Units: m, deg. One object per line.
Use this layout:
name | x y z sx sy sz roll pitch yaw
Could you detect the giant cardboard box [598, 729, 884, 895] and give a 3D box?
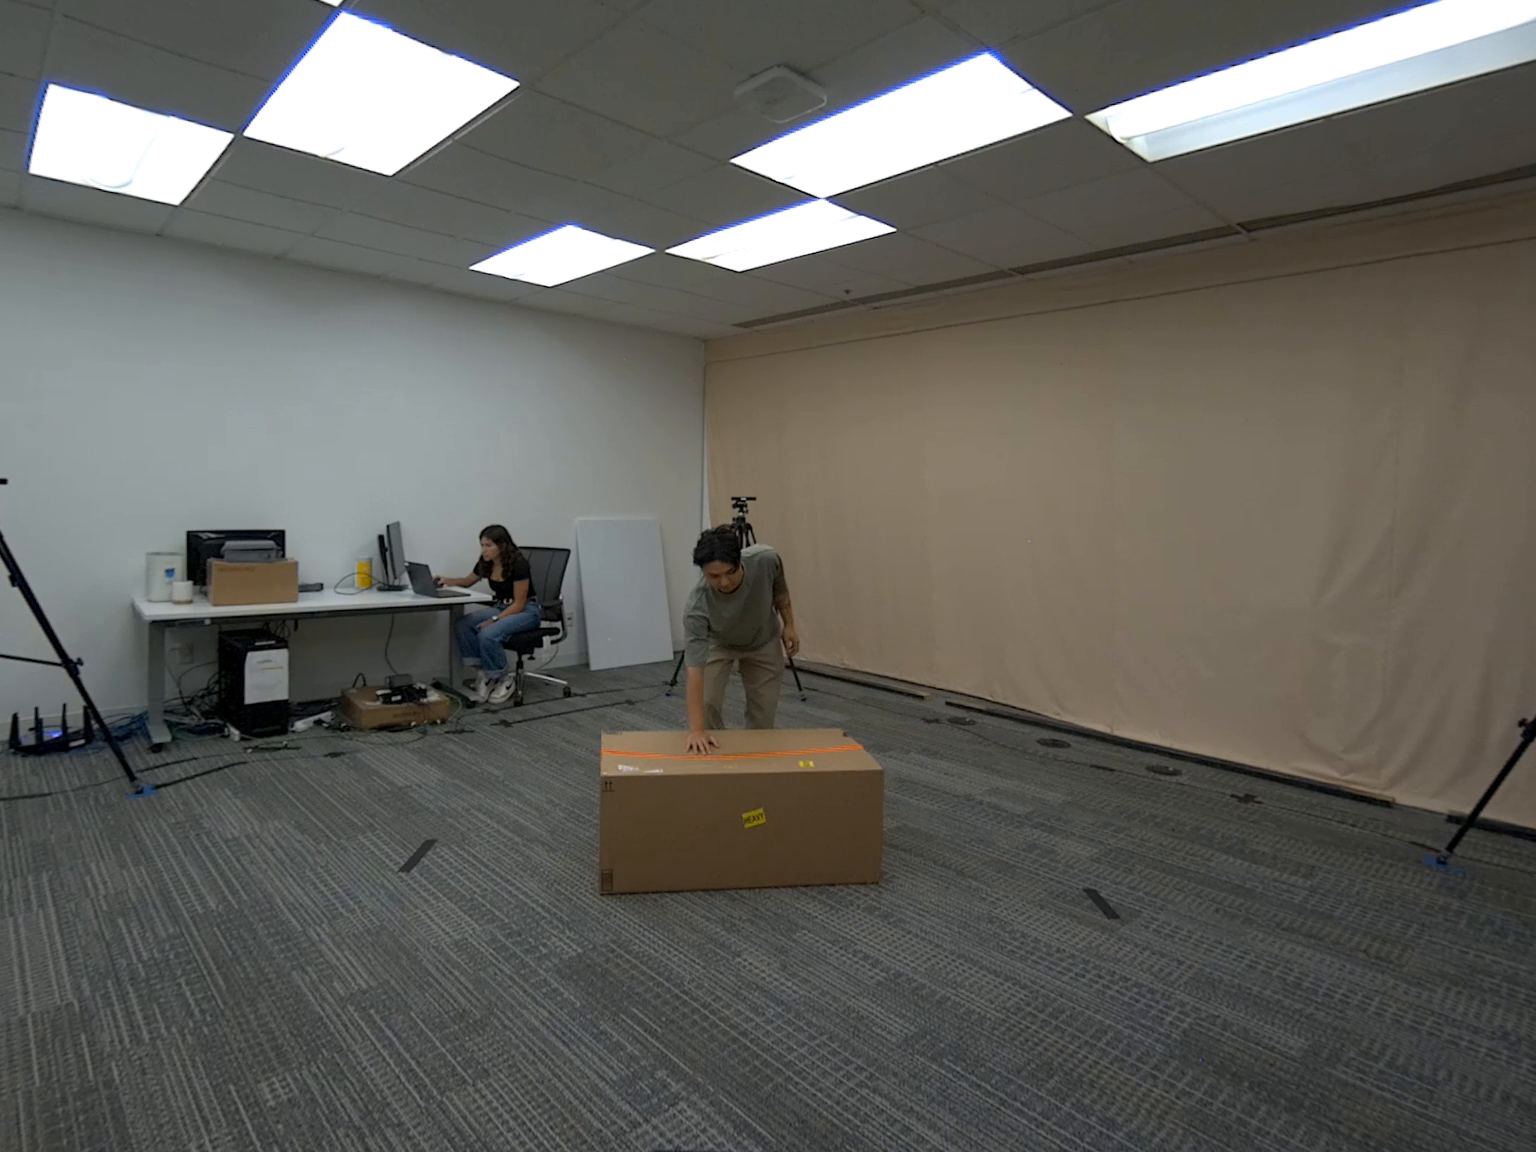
giant cardboard box | -0.144 0.880 3.268 1.018 0.425 0.583 1 4 -9
